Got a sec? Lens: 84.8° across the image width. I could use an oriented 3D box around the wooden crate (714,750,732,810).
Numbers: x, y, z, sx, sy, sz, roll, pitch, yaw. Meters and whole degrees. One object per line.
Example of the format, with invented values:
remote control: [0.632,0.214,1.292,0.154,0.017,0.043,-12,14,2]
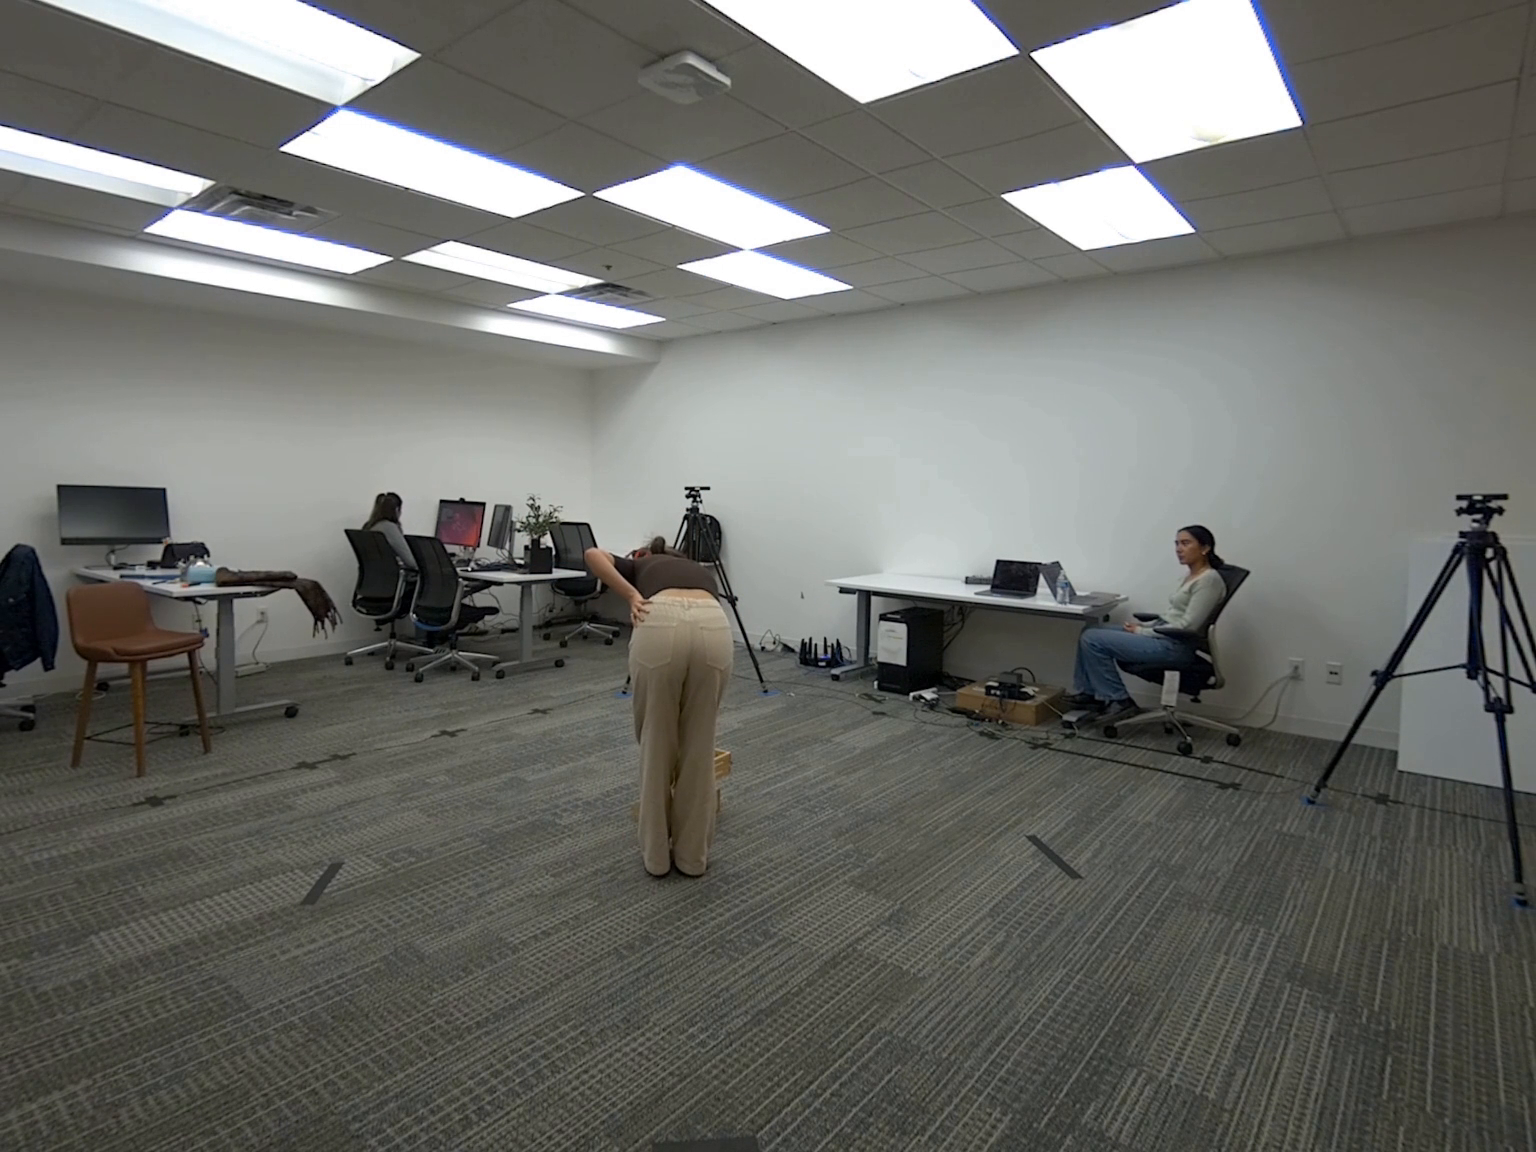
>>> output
wooden crate: [-0.376,0.873,3.604,0.311,0.272,0.316,5,6,32]
